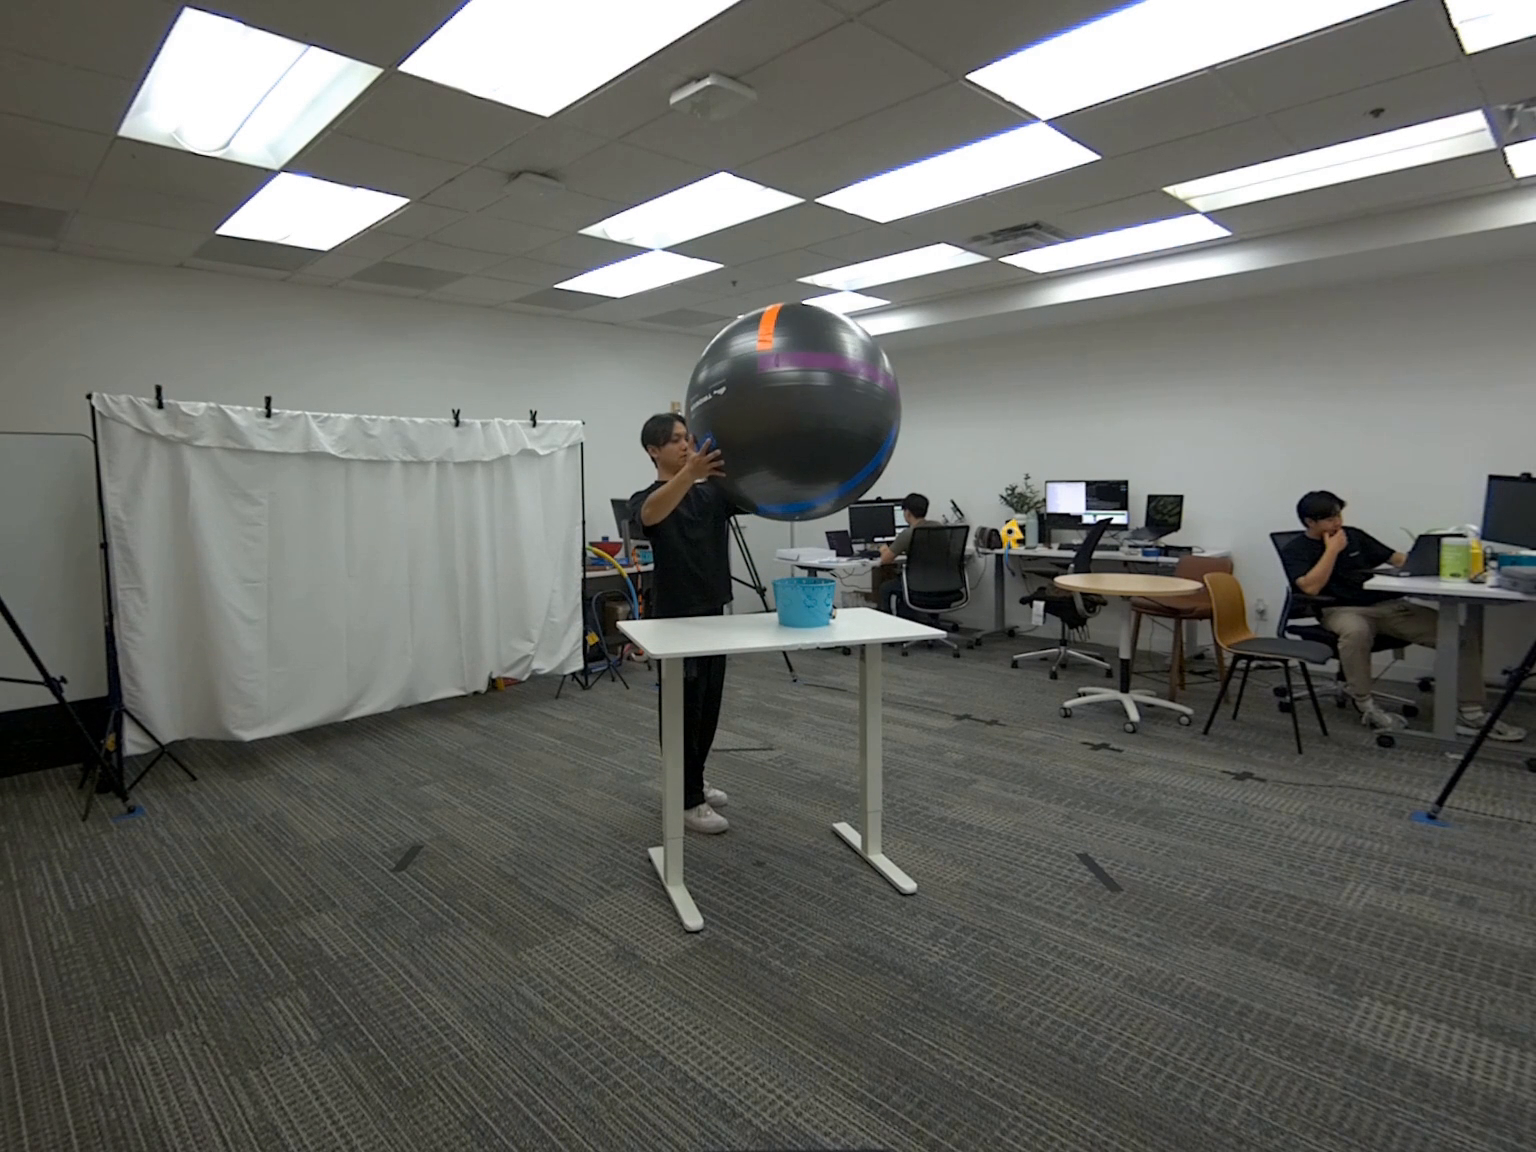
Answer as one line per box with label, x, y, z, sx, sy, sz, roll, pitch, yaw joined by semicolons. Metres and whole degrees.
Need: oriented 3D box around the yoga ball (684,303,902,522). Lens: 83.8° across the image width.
yoga ball;0.089;-0.569;3.005;0.757;0.755;0.762;-1;5;-2
